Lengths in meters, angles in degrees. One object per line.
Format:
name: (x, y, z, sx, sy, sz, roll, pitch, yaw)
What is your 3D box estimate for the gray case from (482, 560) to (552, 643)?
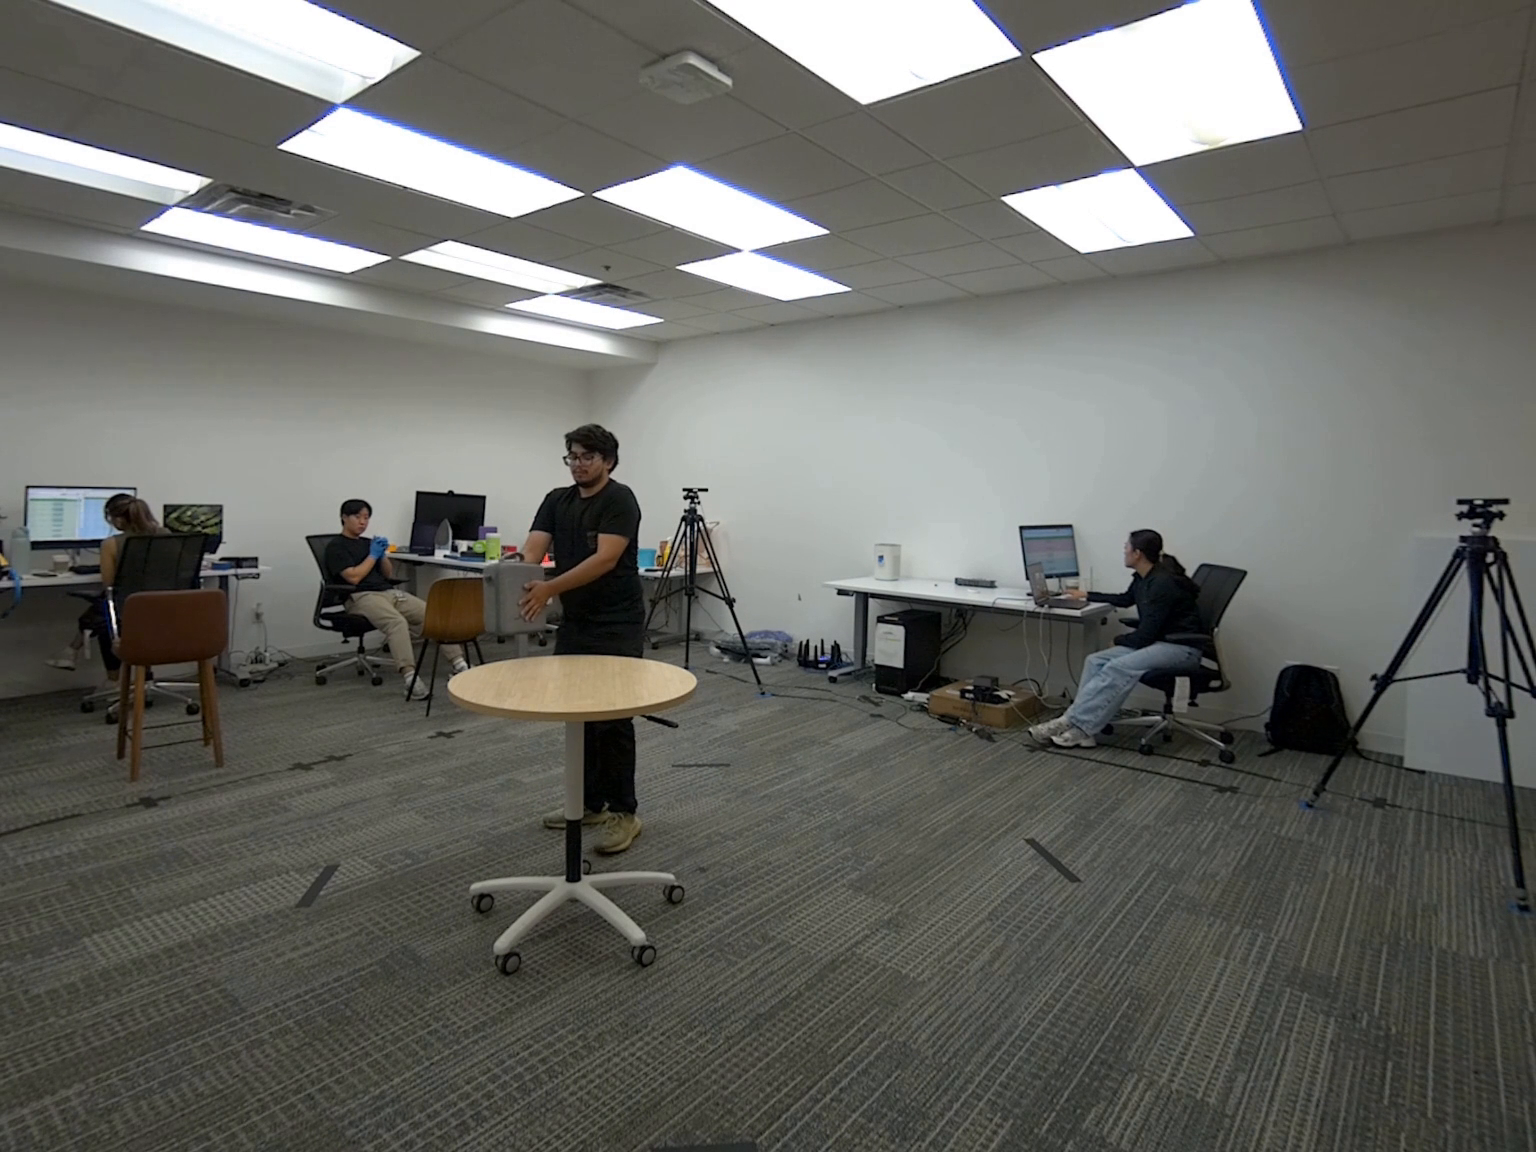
gray case: (-0.923, 0.077, 3.052, 0.106, 0.262, 0.252, -1, -4, 12)
